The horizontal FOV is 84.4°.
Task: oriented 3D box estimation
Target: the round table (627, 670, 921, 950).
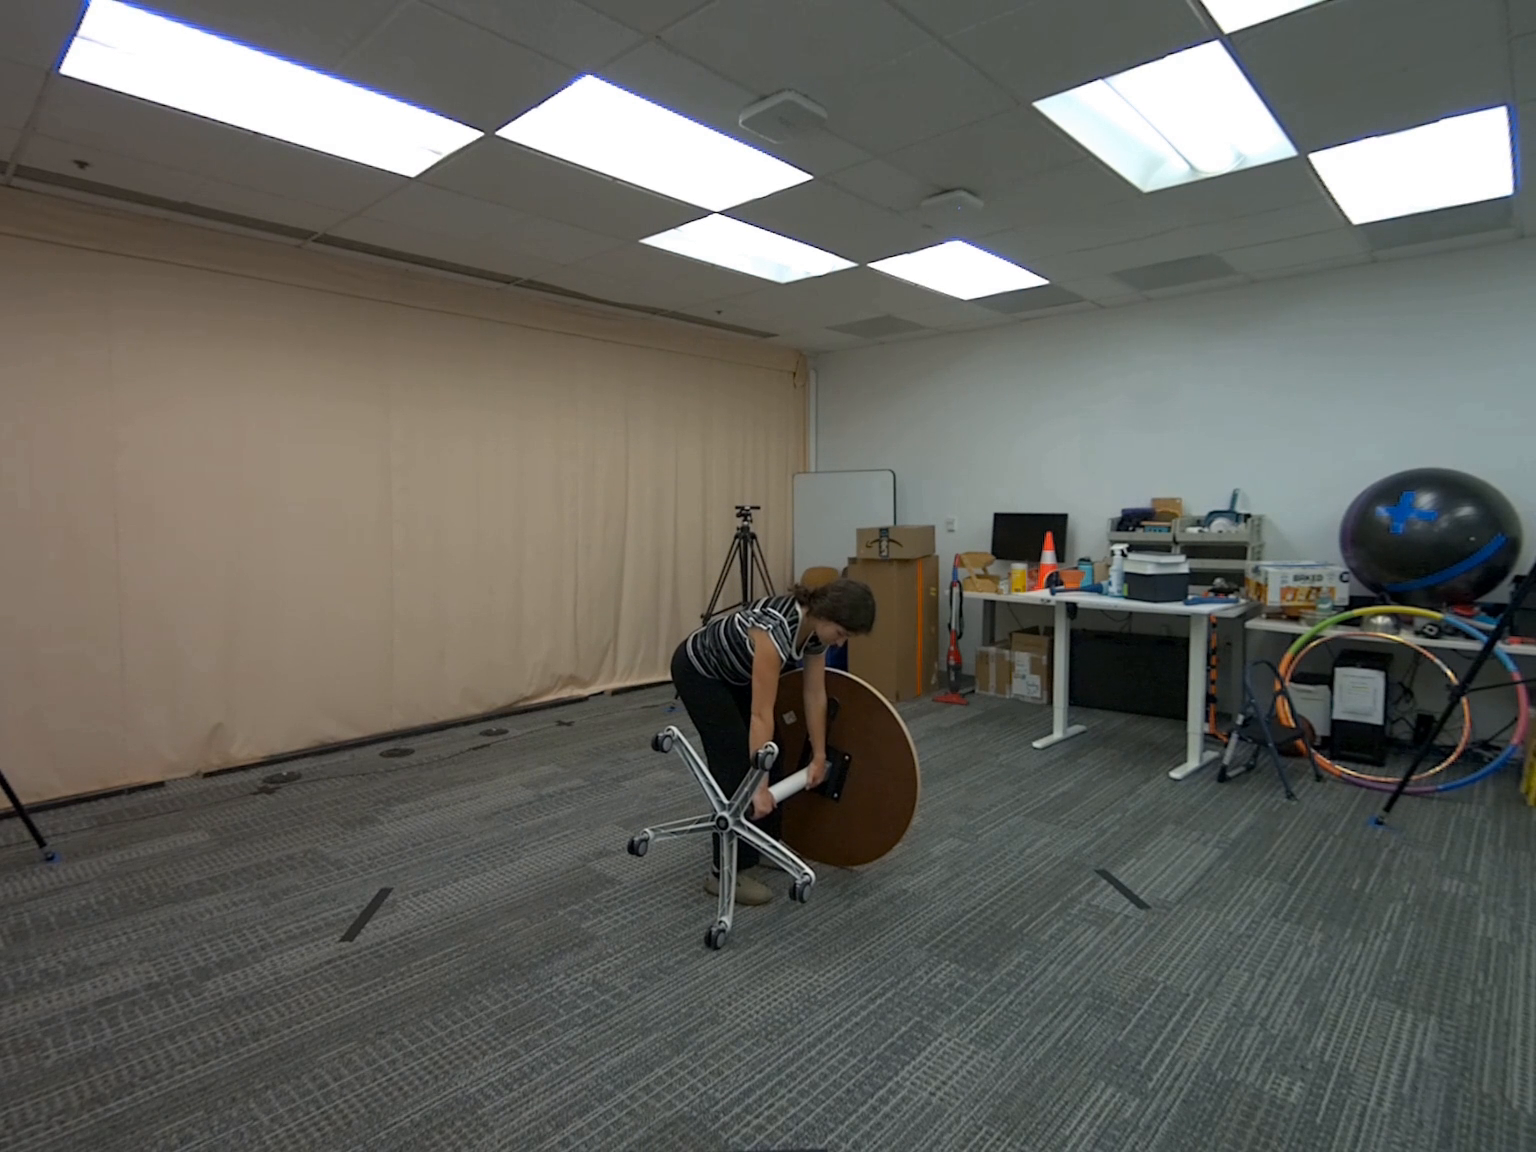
[{"bbox_3d":[0.023,0.776,2.945,0.788,0.761,0.772,3,6,34],"label":"round table"}]
